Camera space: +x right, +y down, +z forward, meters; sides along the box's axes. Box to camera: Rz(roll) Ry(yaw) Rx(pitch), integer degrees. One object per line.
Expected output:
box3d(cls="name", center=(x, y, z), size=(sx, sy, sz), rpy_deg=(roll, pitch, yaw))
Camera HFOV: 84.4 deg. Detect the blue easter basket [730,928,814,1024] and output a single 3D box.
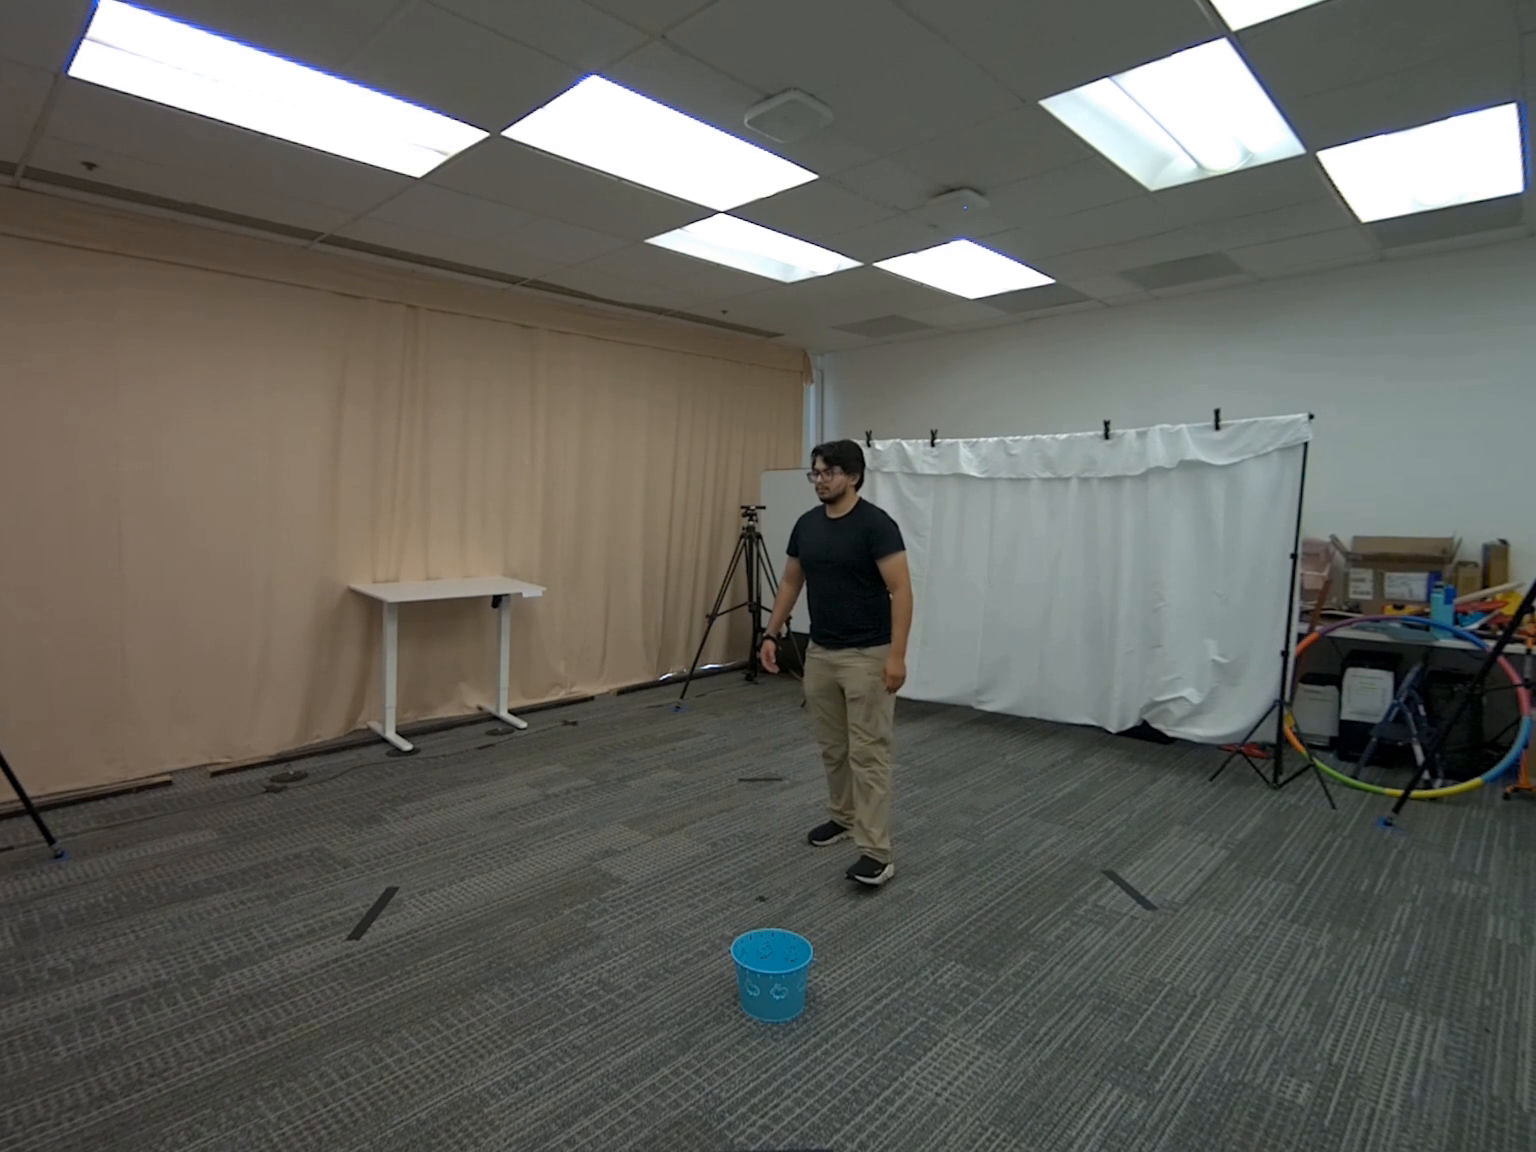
box3d(cls="blue easter basket", center=(0.020, 1.118, 2.356), size=(0.243, 0.155, 0.244), rpy_deg=(0, 4, -2))
